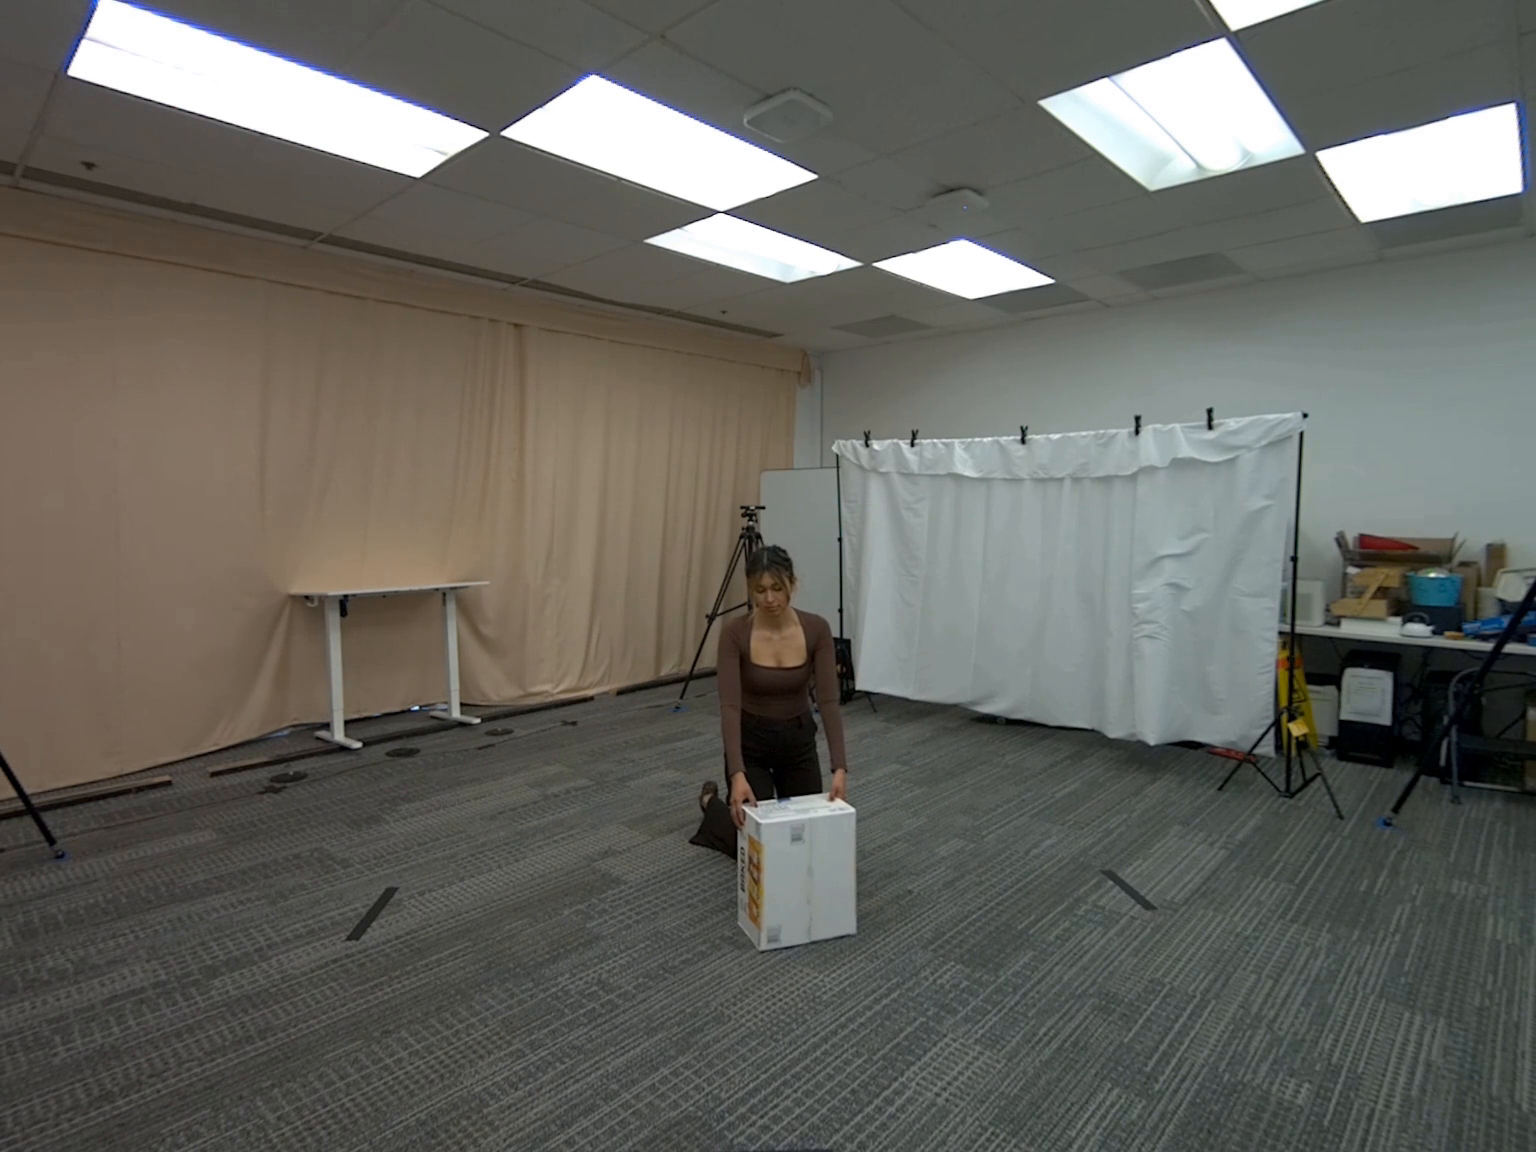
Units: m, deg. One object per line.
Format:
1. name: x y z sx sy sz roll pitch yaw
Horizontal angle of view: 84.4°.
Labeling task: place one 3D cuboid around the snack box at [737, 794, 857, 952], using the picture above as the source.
1. snack box: 0.096 0.954 2.767 0.333 0.405 0.210 -1 2 -21
